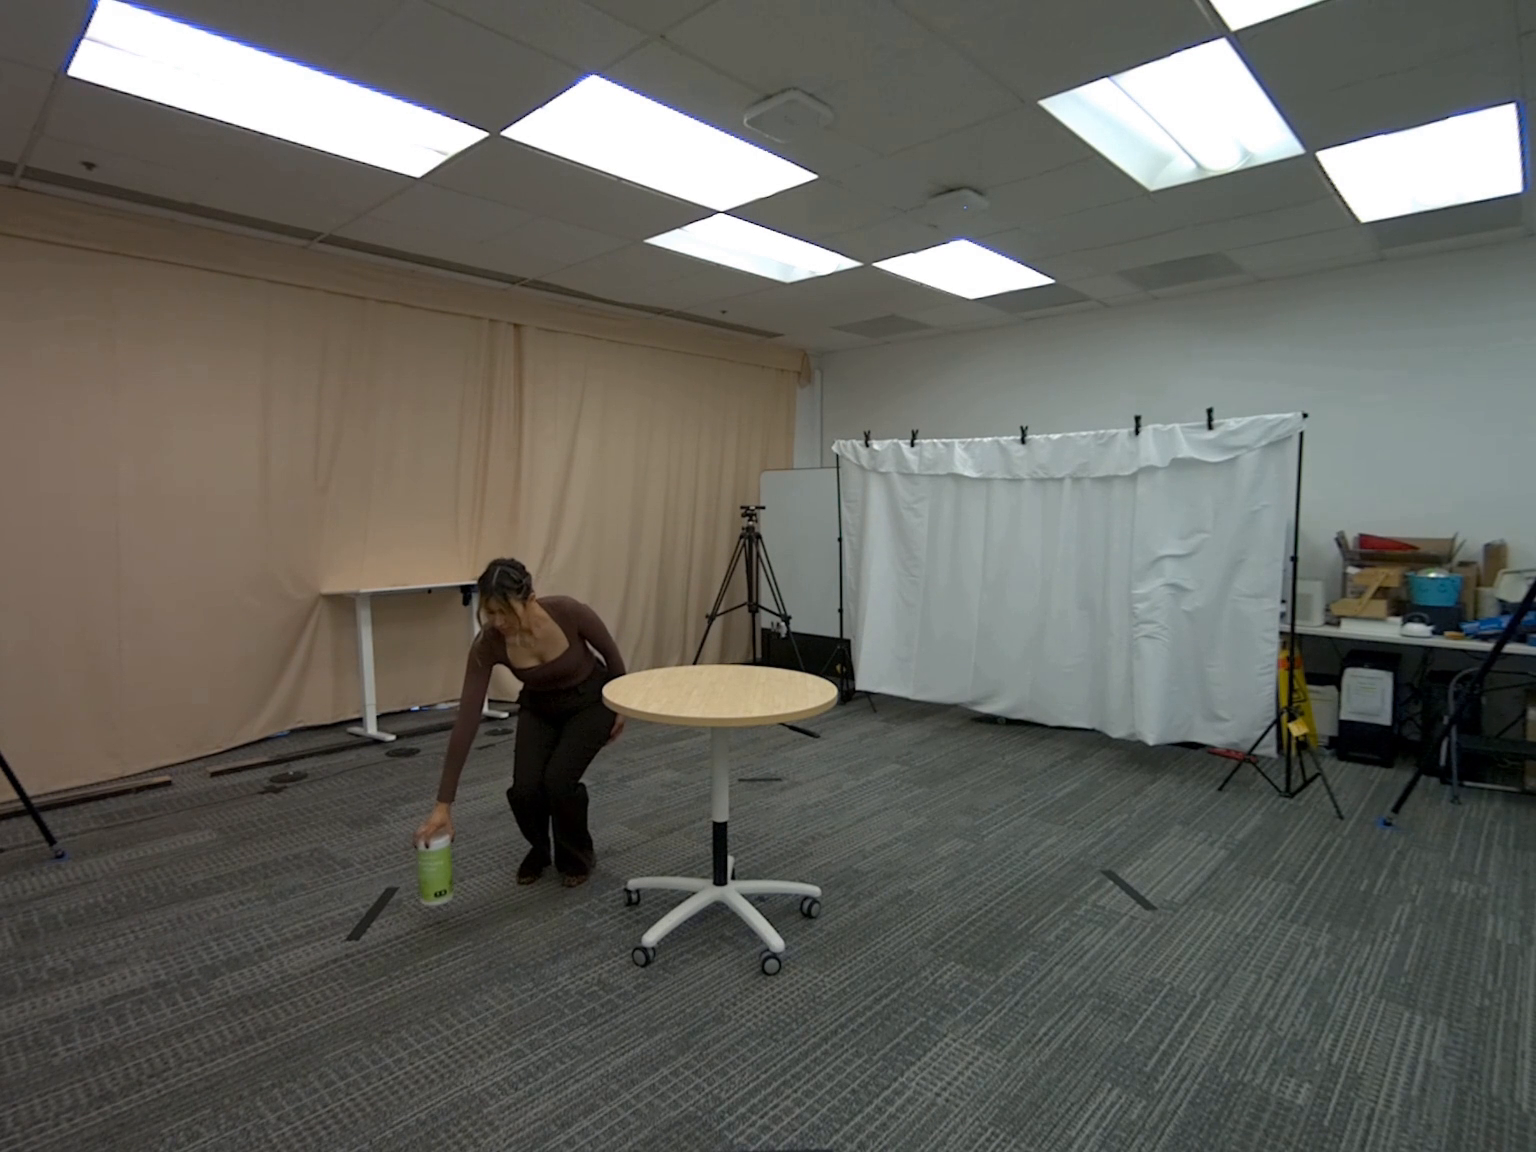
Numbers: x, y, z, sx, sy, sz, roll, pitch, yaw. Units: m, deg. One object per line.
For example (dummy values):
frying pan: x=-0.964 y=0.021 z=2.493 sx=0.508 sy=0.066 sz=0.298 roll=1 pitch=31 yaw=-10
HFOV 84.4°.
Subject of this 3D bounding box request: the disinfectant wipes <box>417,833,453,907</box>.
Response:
disinfectant wipes: x=-1.115 y=0.970 z=2.783 sx=0.118 sy=0.217 sz=0.118 roll=0 pitch=4 yaw=-2
